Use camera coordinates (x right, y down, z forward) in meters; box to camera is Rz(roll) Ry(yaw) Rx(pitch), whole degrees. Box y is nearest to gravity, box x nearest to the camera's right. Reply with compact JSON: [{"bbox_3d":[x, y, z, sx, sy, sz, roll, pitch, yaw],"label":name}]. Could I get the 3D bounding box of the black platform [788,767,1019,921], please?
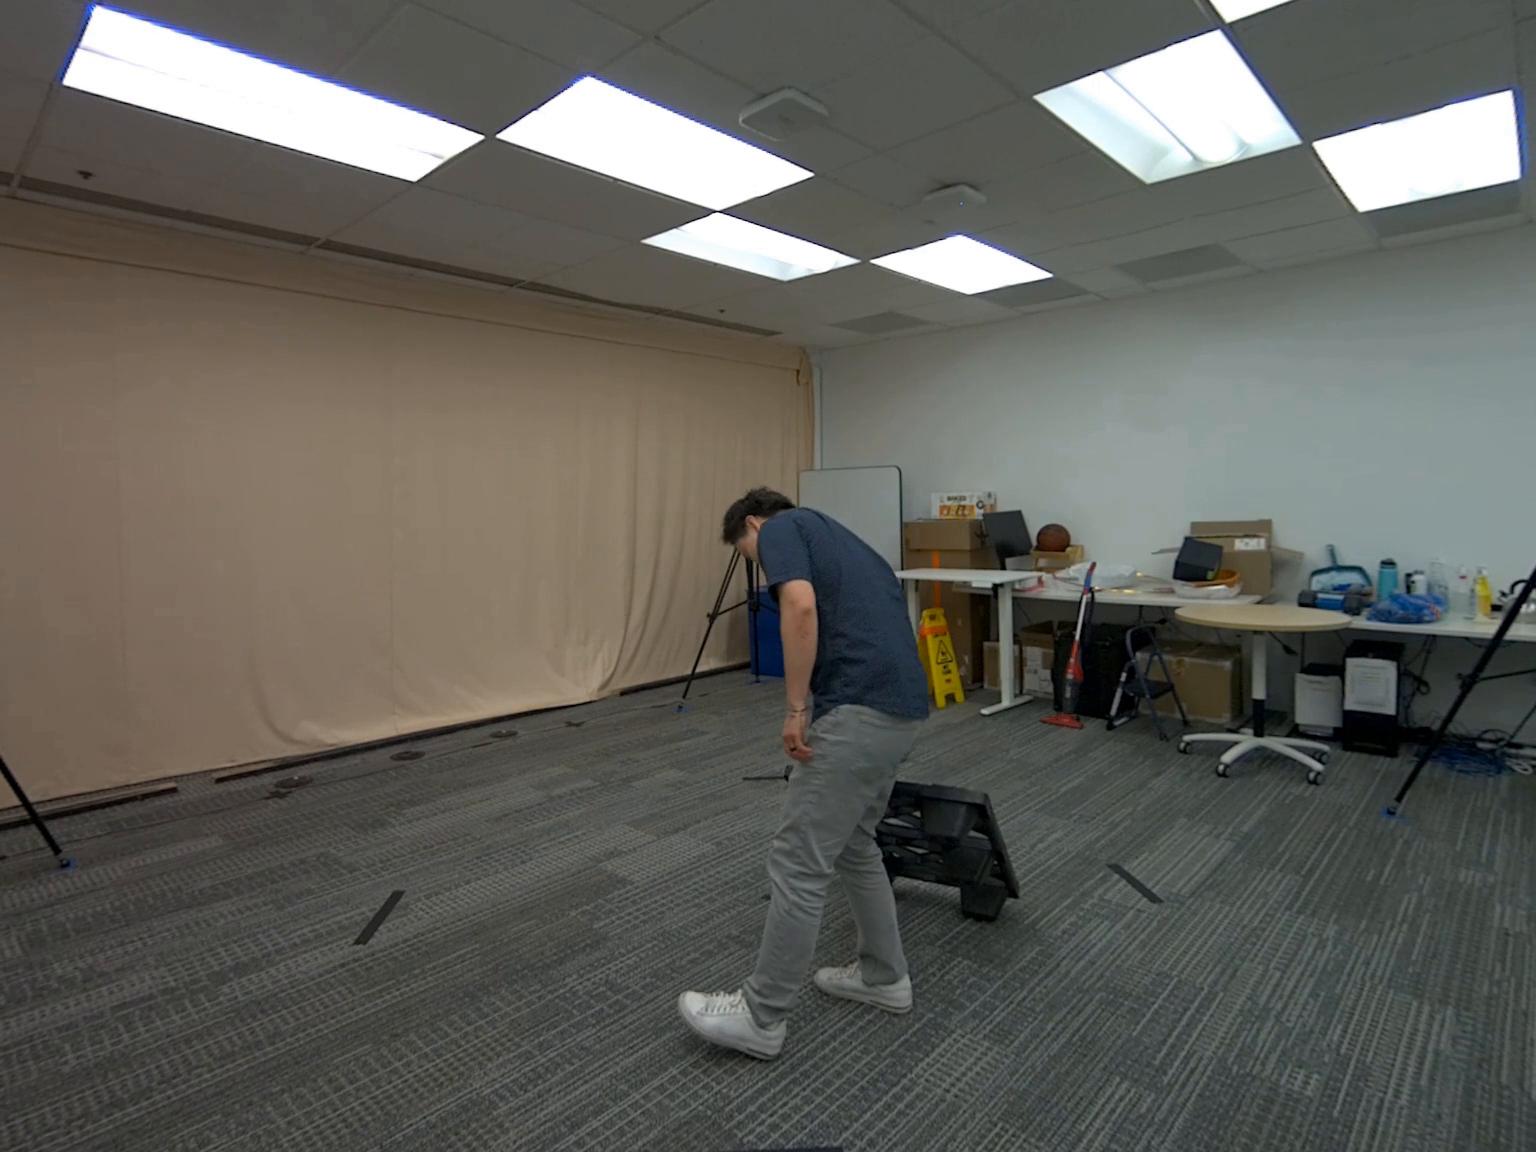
[{"bbox_3d":[0.444,0.871,2.668,0.621,0.144,0.780,3,-37,27],"label":"black platform"}]
